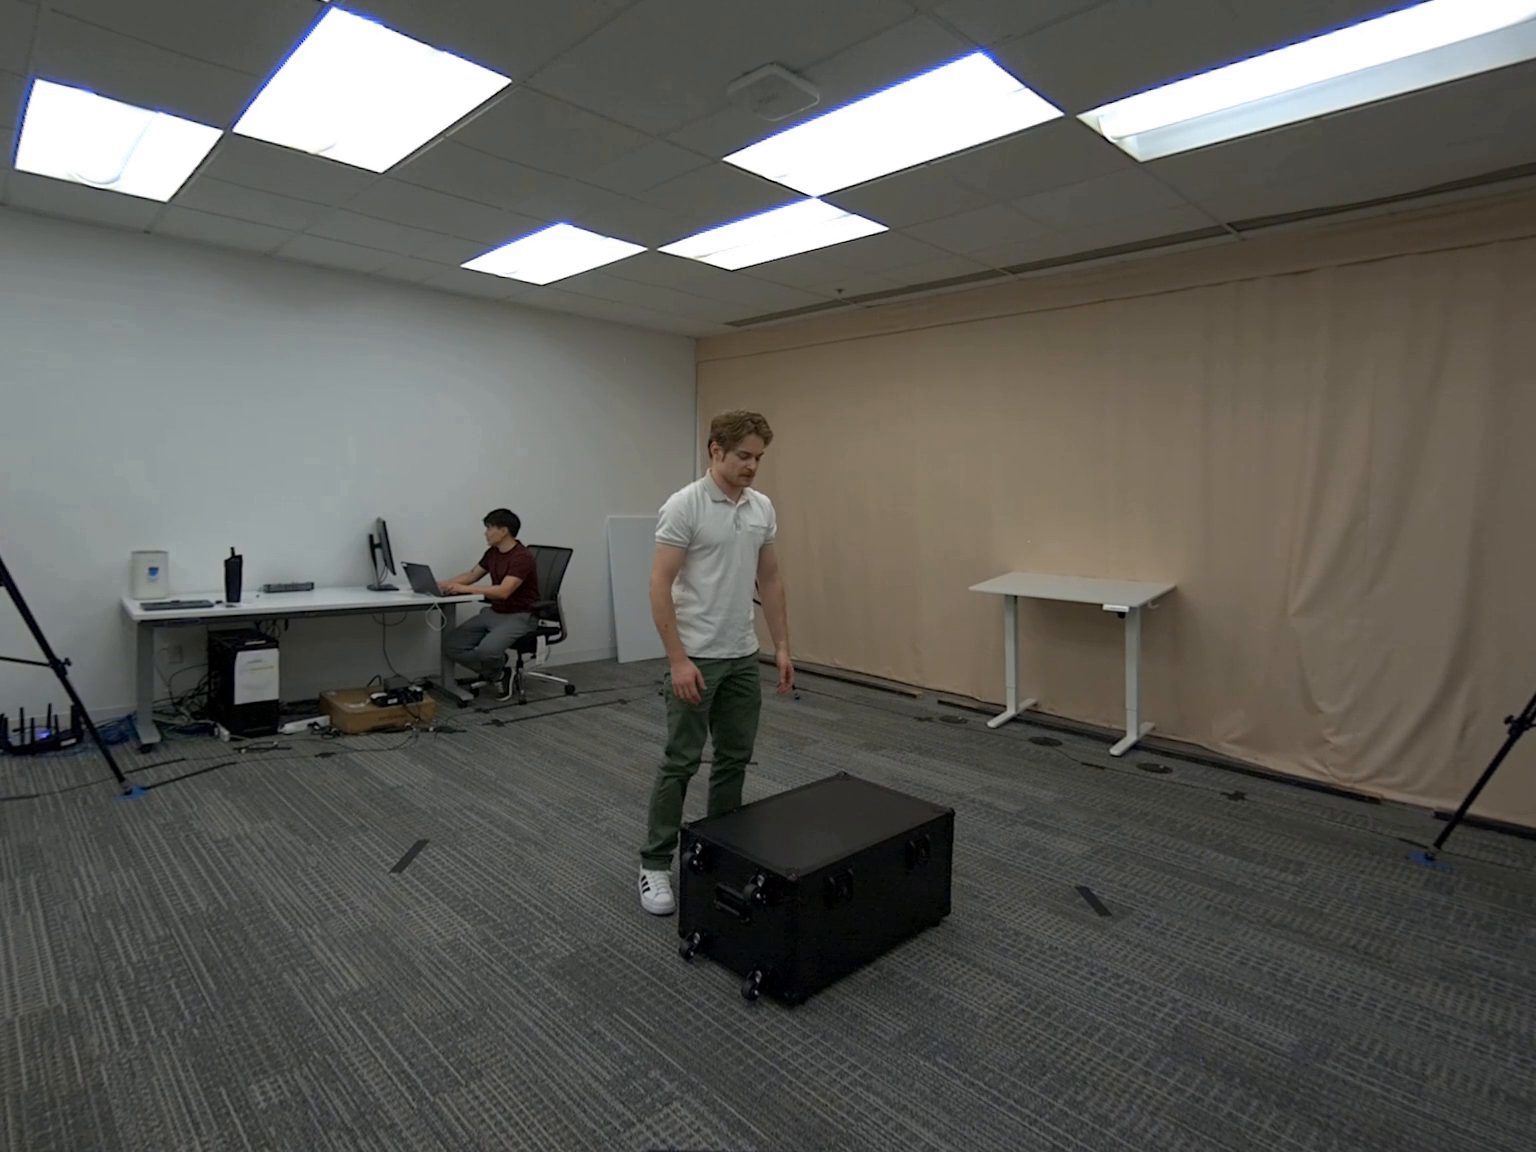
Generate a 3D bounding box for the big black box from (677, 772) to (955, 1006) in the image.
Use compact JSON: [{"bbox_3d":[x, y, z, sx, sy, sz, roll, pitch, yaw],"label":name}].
[{"bbox_3d":[0.133,0.955,2.679,0.849,0.384,0.537,-4,8,-44],"label":"big black box"}]
